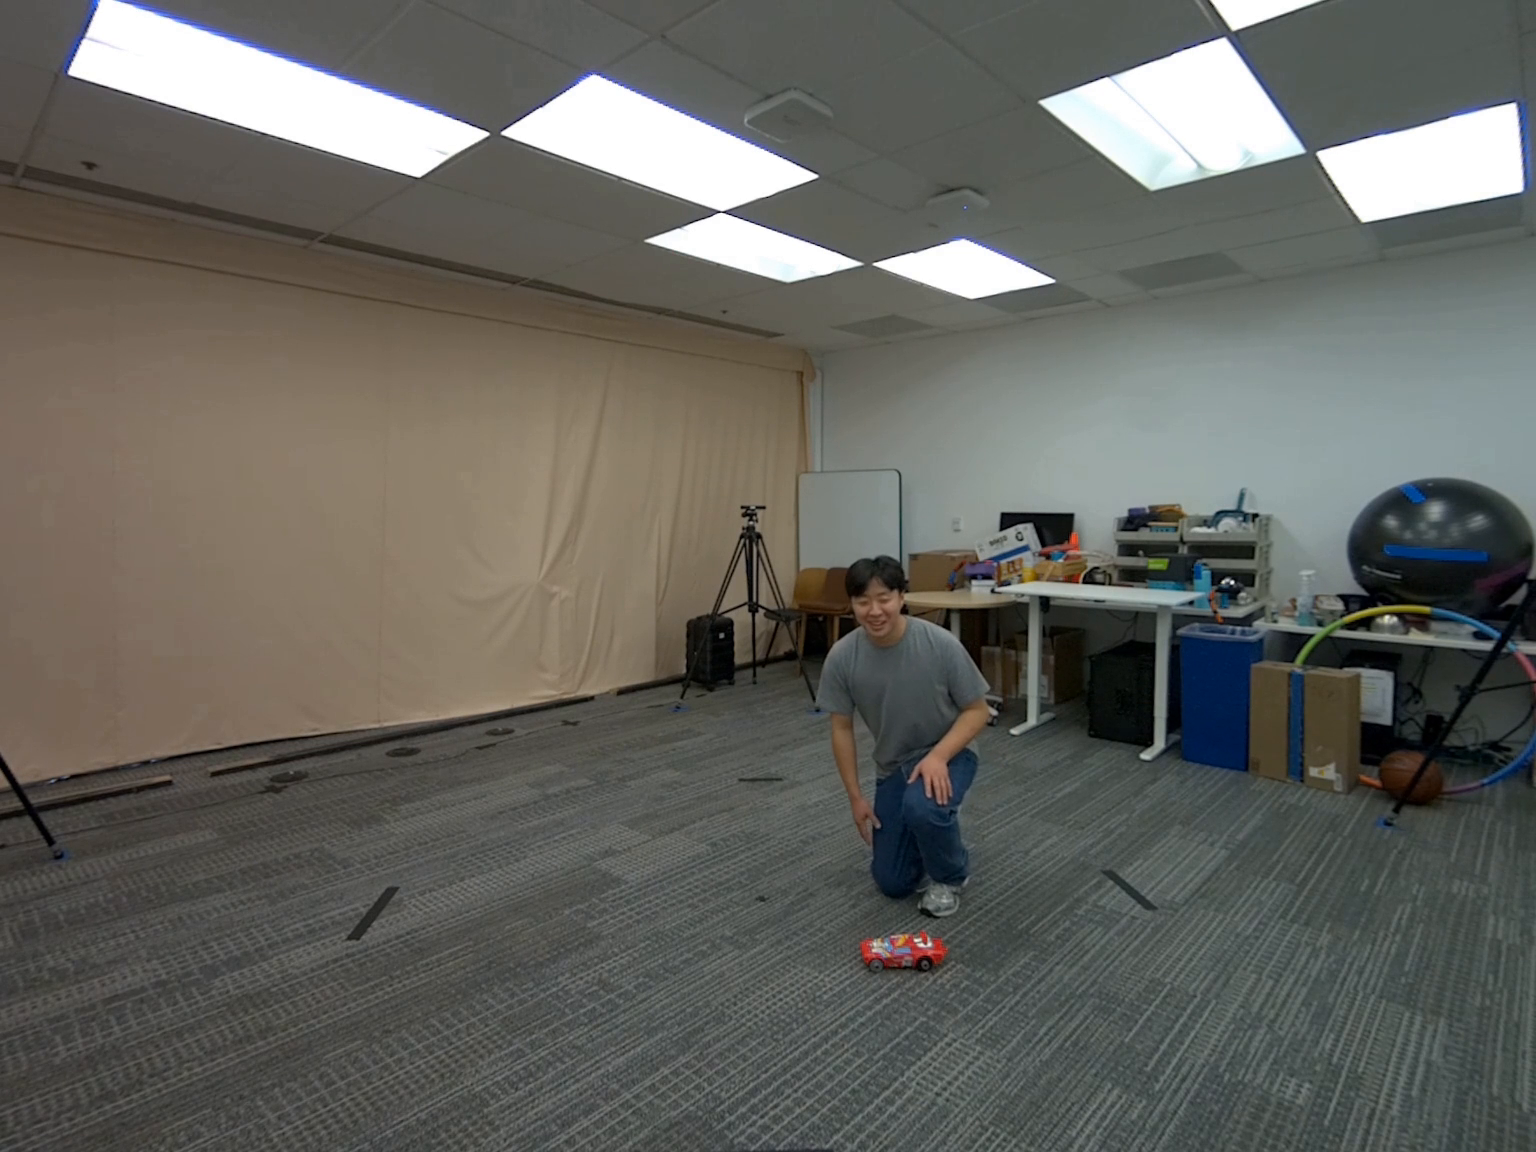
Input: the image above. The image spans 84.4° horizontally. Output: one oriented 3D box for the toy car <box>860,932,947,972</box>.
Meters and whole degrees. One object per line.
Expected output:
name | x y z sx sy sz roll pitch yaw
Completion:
toy car | 0.421 1.145 2.559 0.254 0.083 0.130 -10 3 -1
